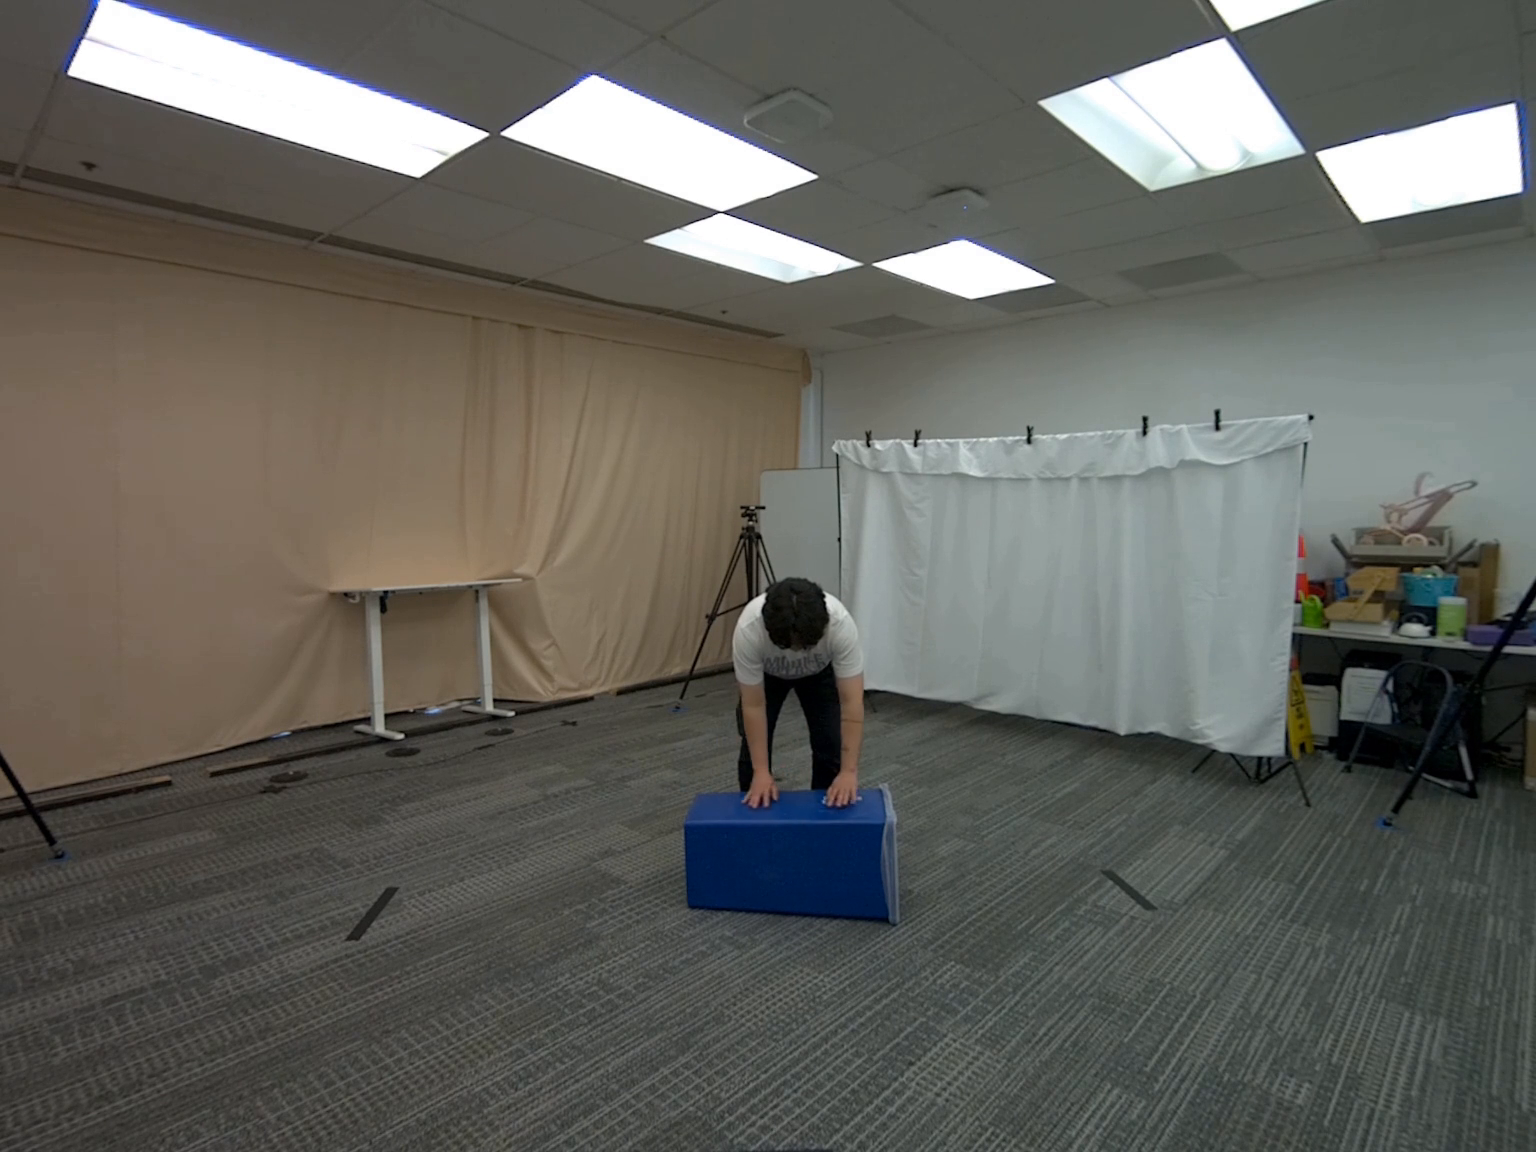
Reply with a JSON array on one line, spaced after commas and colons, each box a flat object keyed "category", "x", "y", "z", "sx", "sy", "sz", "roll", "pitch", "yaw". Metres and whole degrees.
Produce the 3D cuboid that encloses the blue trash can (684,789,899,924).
[{"category": "blue trash can", "x": 0.089, "y": 0.972, "z": 2.993, "sx": 0.718, "sy": 0.377, "sz": 0.372, "roll": -2, "pitch": 4, "yaw": 6}]
